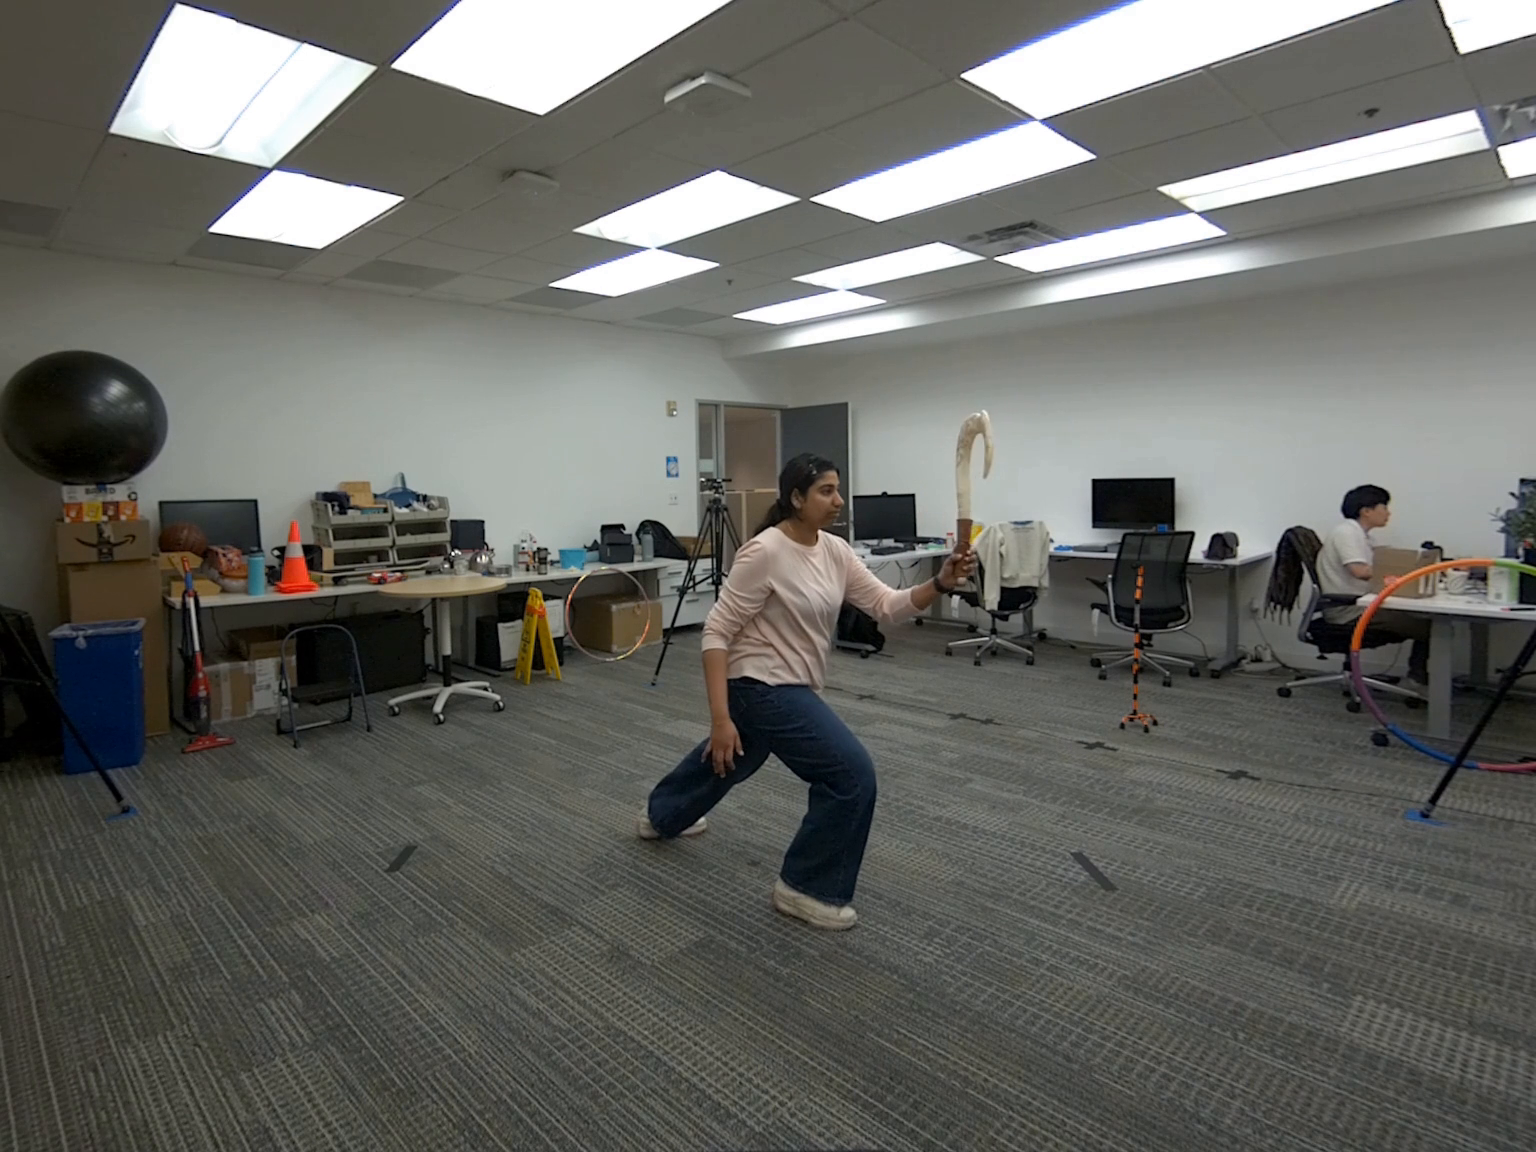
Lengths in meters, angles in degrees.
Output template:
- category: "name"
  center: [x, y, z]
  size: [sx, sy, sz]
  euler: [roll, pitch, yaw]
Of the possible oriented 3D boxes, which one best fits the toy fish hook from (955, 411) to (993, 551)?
- category: "toy fish hook"
  center: [0.591, -0.214, 2.465]
  size: [0.048, 0.506, 0.226]
  euler: [4, 2, -5]
